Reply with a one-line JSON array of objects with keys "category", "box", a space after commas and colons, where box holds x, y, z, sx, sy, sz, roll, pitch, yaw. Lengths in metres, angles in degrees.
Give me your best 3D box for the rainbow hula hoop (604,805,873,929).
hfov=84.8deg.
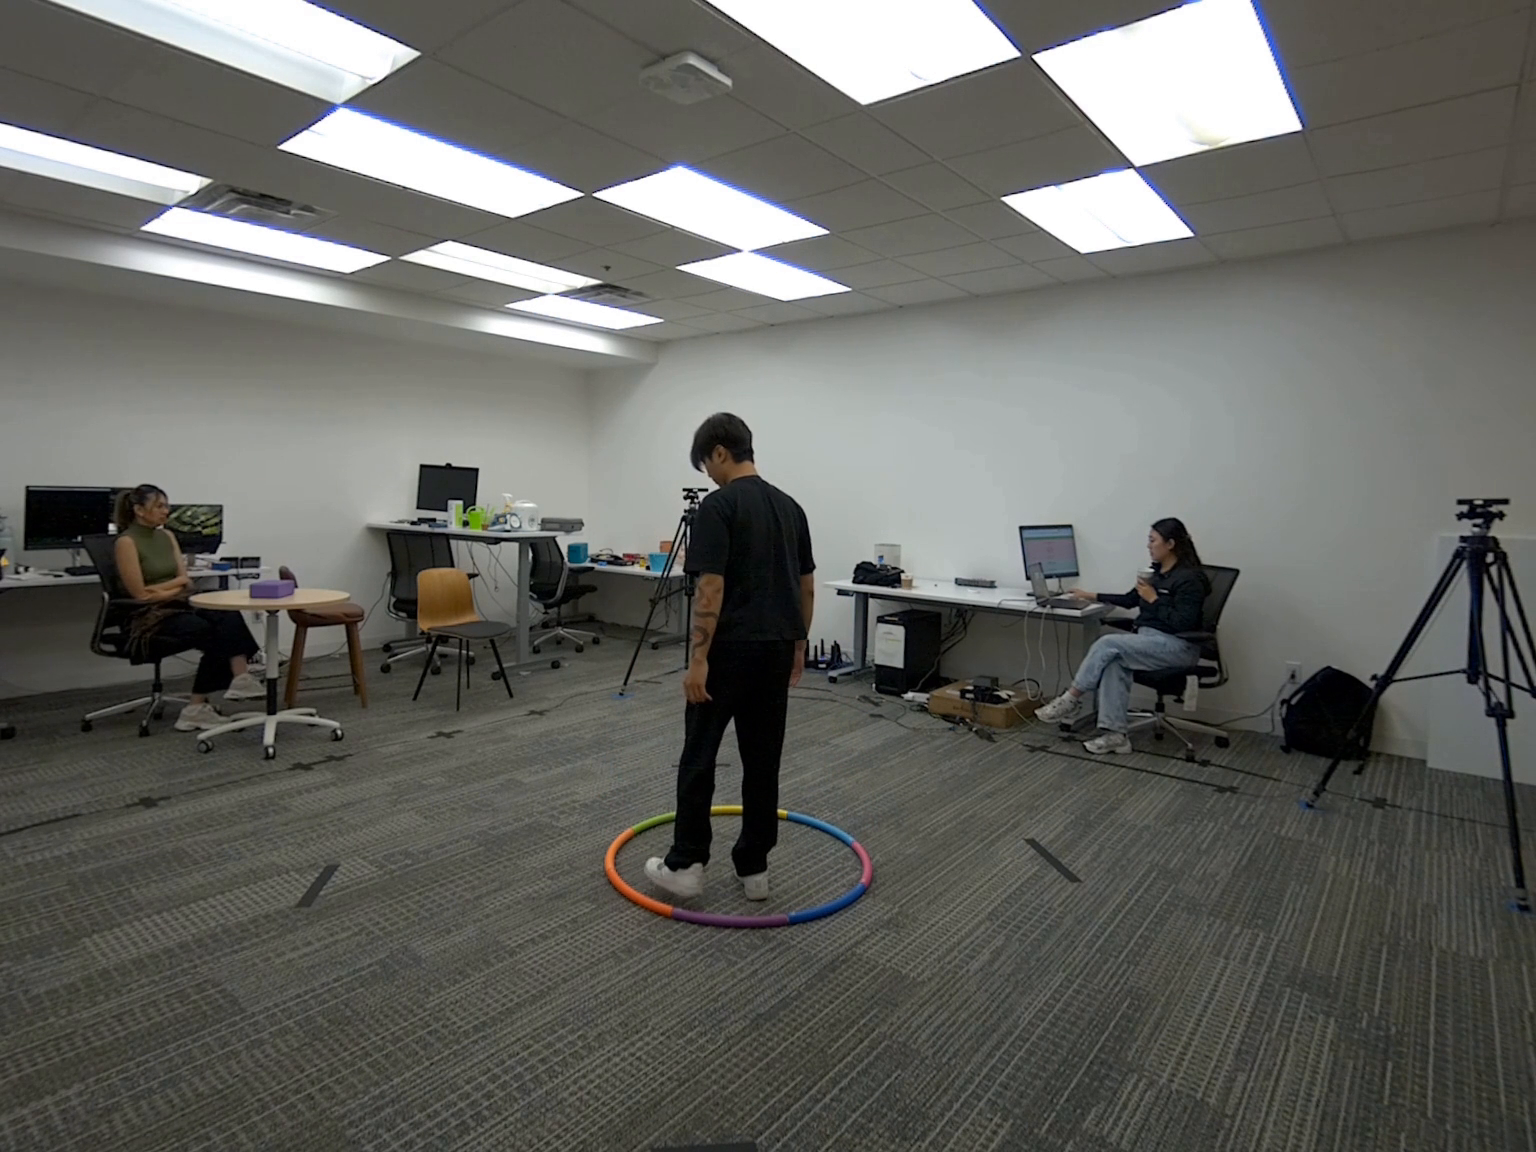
[{"category": "rainbow hula hoop", "box": [-0.119, 1.035, 3.171, 0.978, 0.035, 0.984, 1, 6, -2]}]
